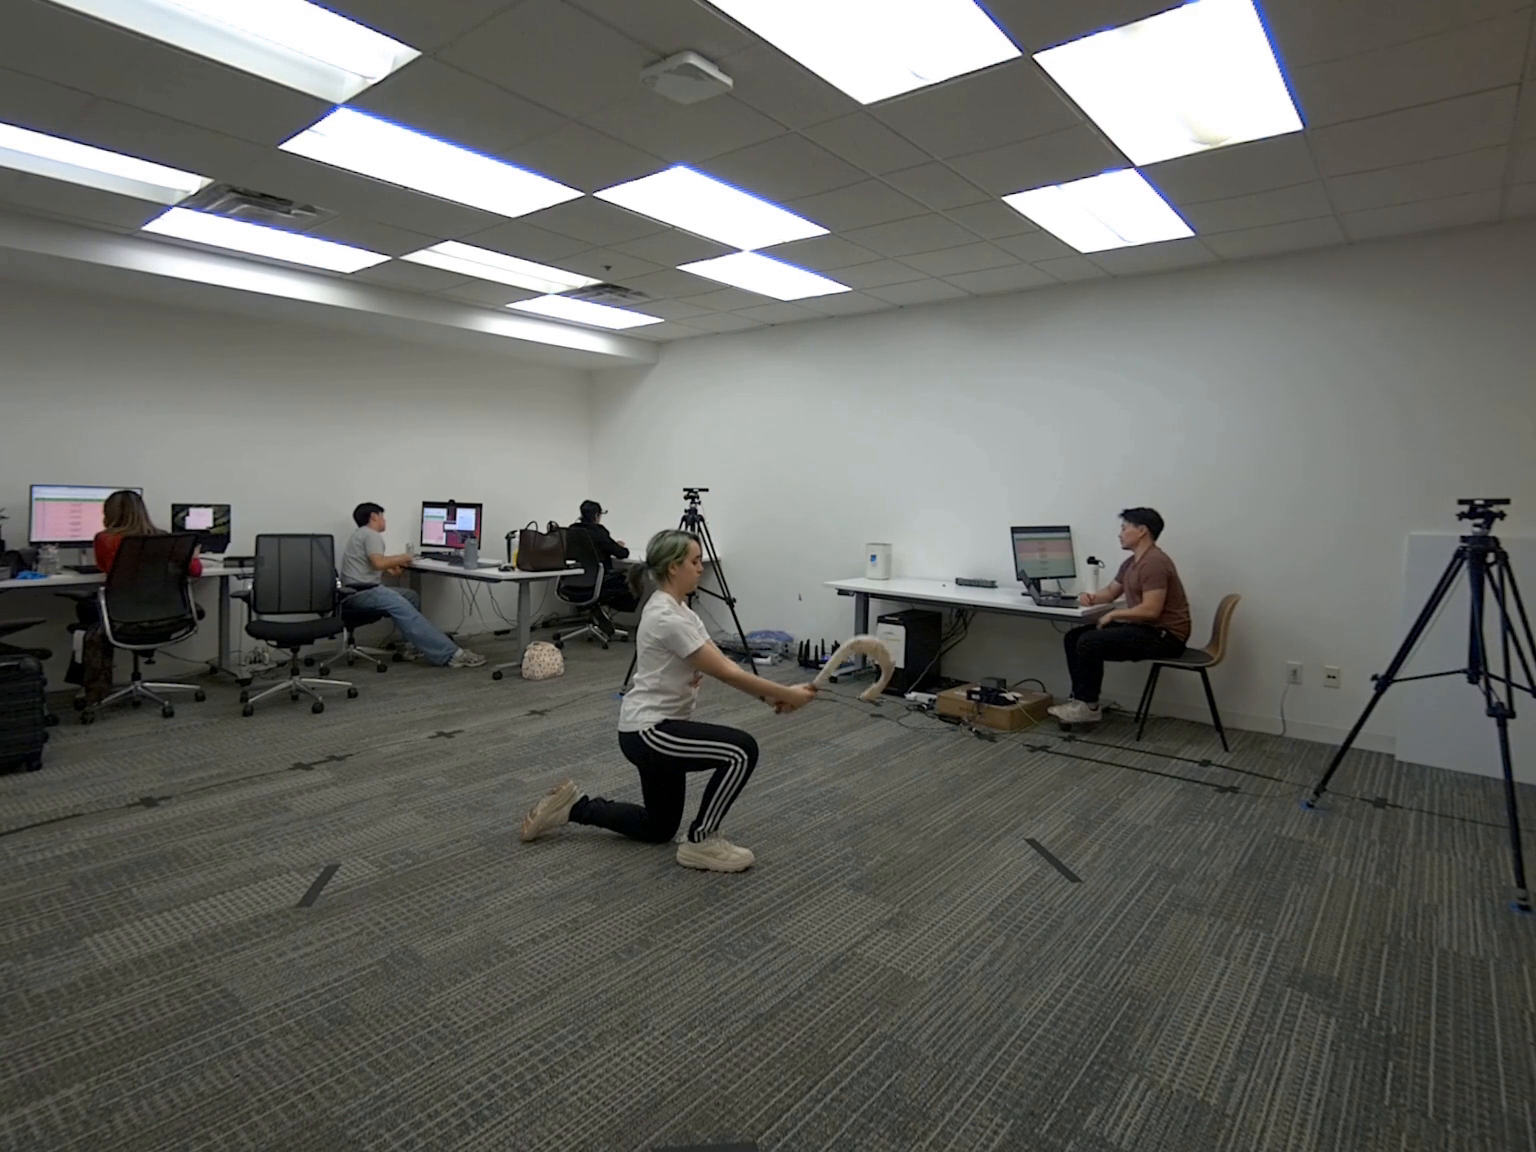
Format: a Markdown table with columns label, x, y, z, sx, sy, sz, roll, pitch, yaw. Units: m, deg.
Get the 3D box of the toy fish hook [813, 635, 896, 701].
| label | x | y | z | sx | sy | sz | roll | pitch | yaw |
| --- | --- | --- | --- | --- | --- | --- | --- | --- | --- |
| toy fish hook | 0.227 | 0.412 | 3.240 | 0.509 | 0.226 | 0.048 | -37 | -4 | 17 |
